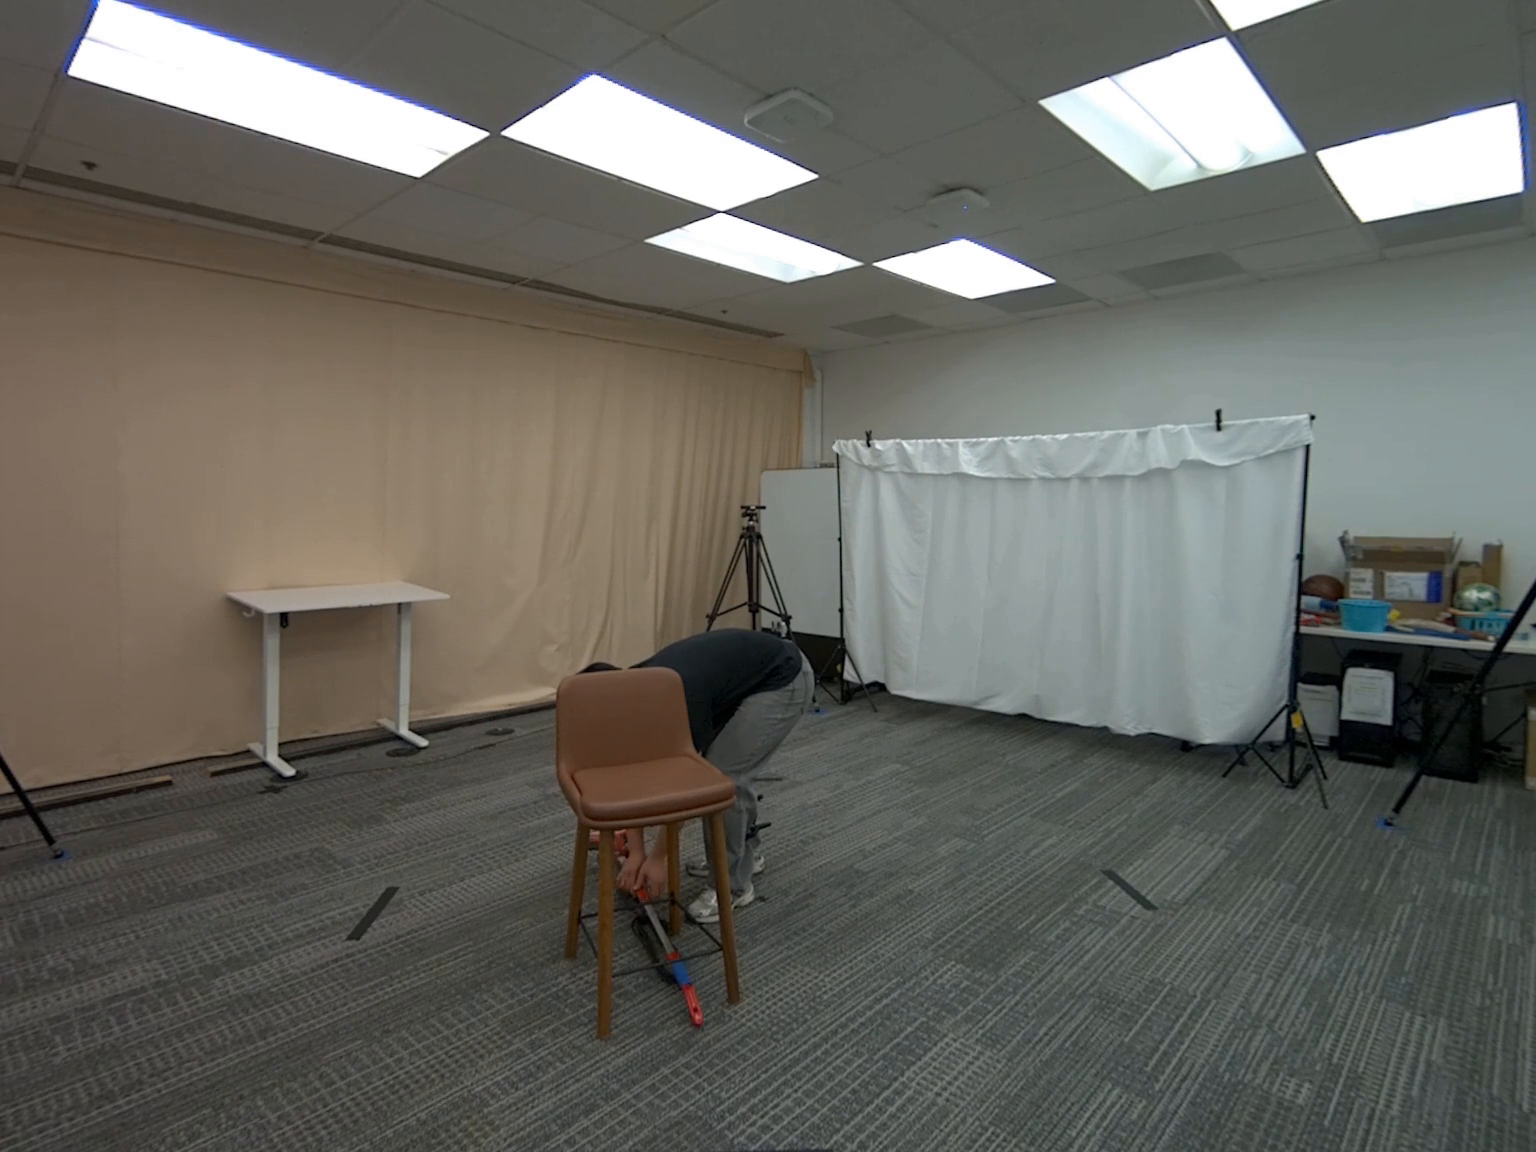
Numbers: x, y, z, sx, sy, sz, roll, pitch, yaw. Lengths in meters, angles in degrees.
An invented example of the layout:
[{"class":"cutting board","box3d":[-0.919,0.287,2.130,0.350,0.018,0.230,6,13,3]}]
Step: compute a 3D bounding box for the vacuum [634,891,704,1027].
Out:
[{"class":"vacuum","box3d":[-0.400,1.107,2.750,0.248,0.143,1.076,-6,10,-21]}]
